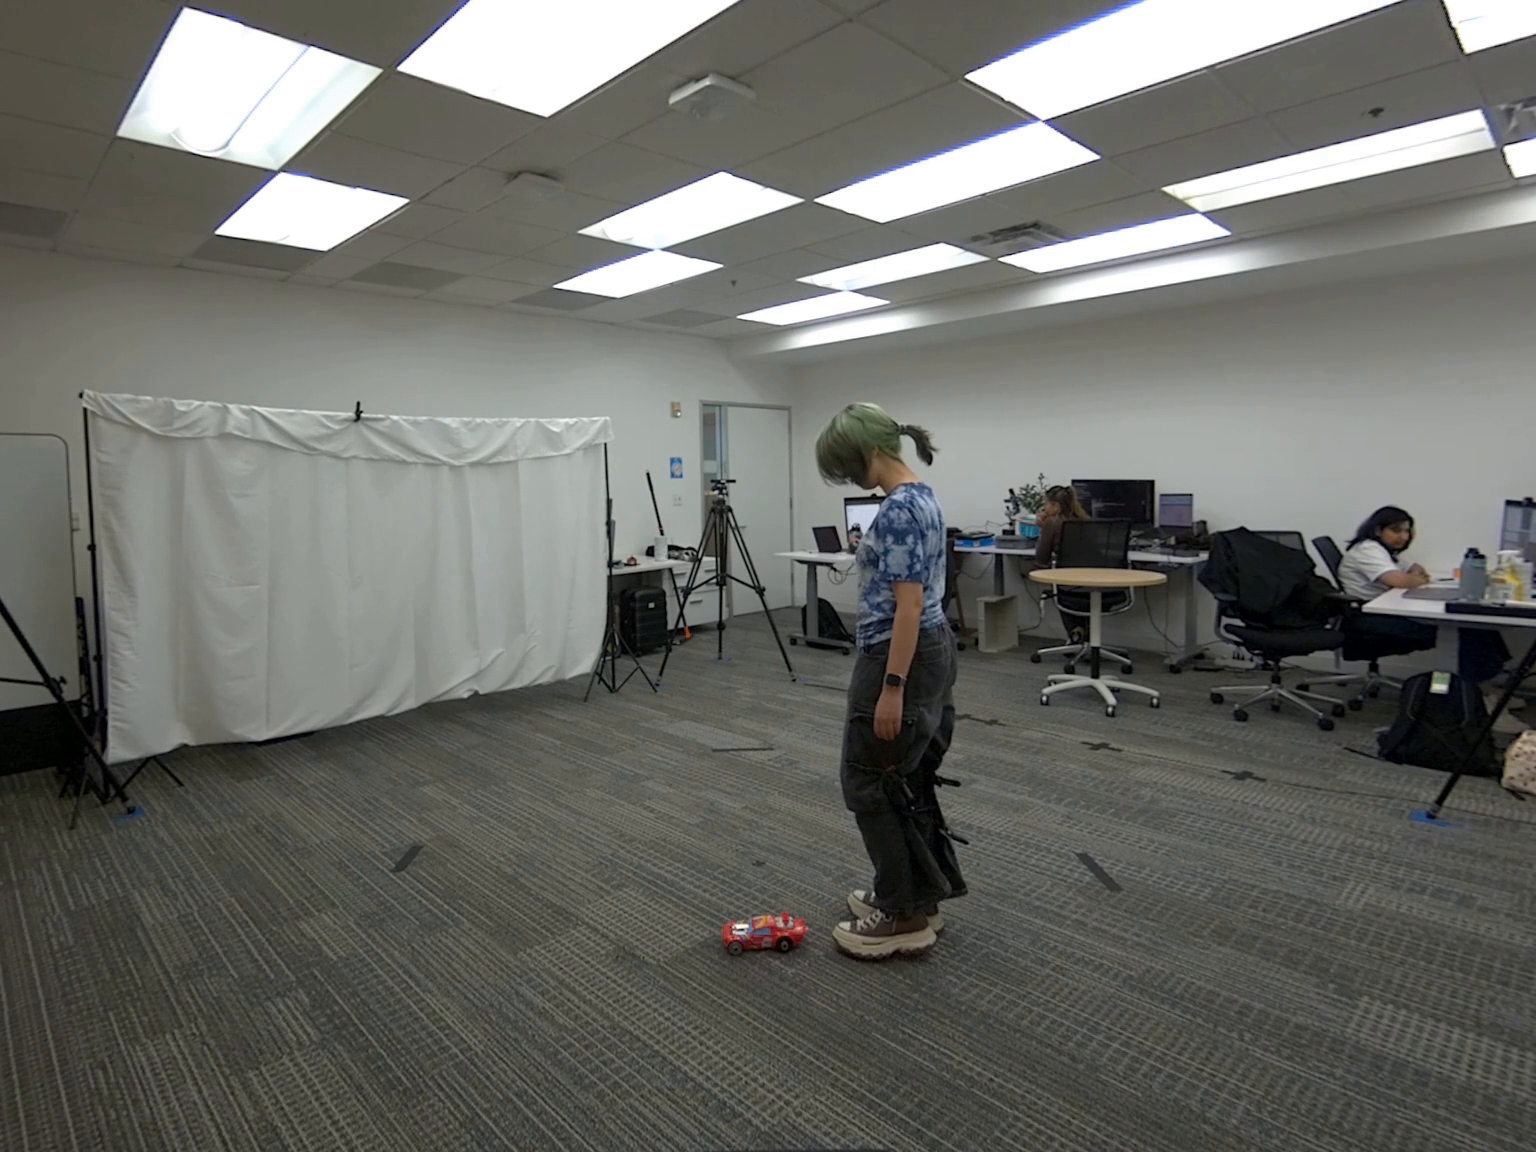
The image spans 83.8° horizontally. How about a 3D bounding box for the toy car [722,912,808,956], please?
[{"bbox_3d":[-0.001,1.079,2.564,0.254,0.083,0.131,-13,5,-2],"label":"toy car"}]
